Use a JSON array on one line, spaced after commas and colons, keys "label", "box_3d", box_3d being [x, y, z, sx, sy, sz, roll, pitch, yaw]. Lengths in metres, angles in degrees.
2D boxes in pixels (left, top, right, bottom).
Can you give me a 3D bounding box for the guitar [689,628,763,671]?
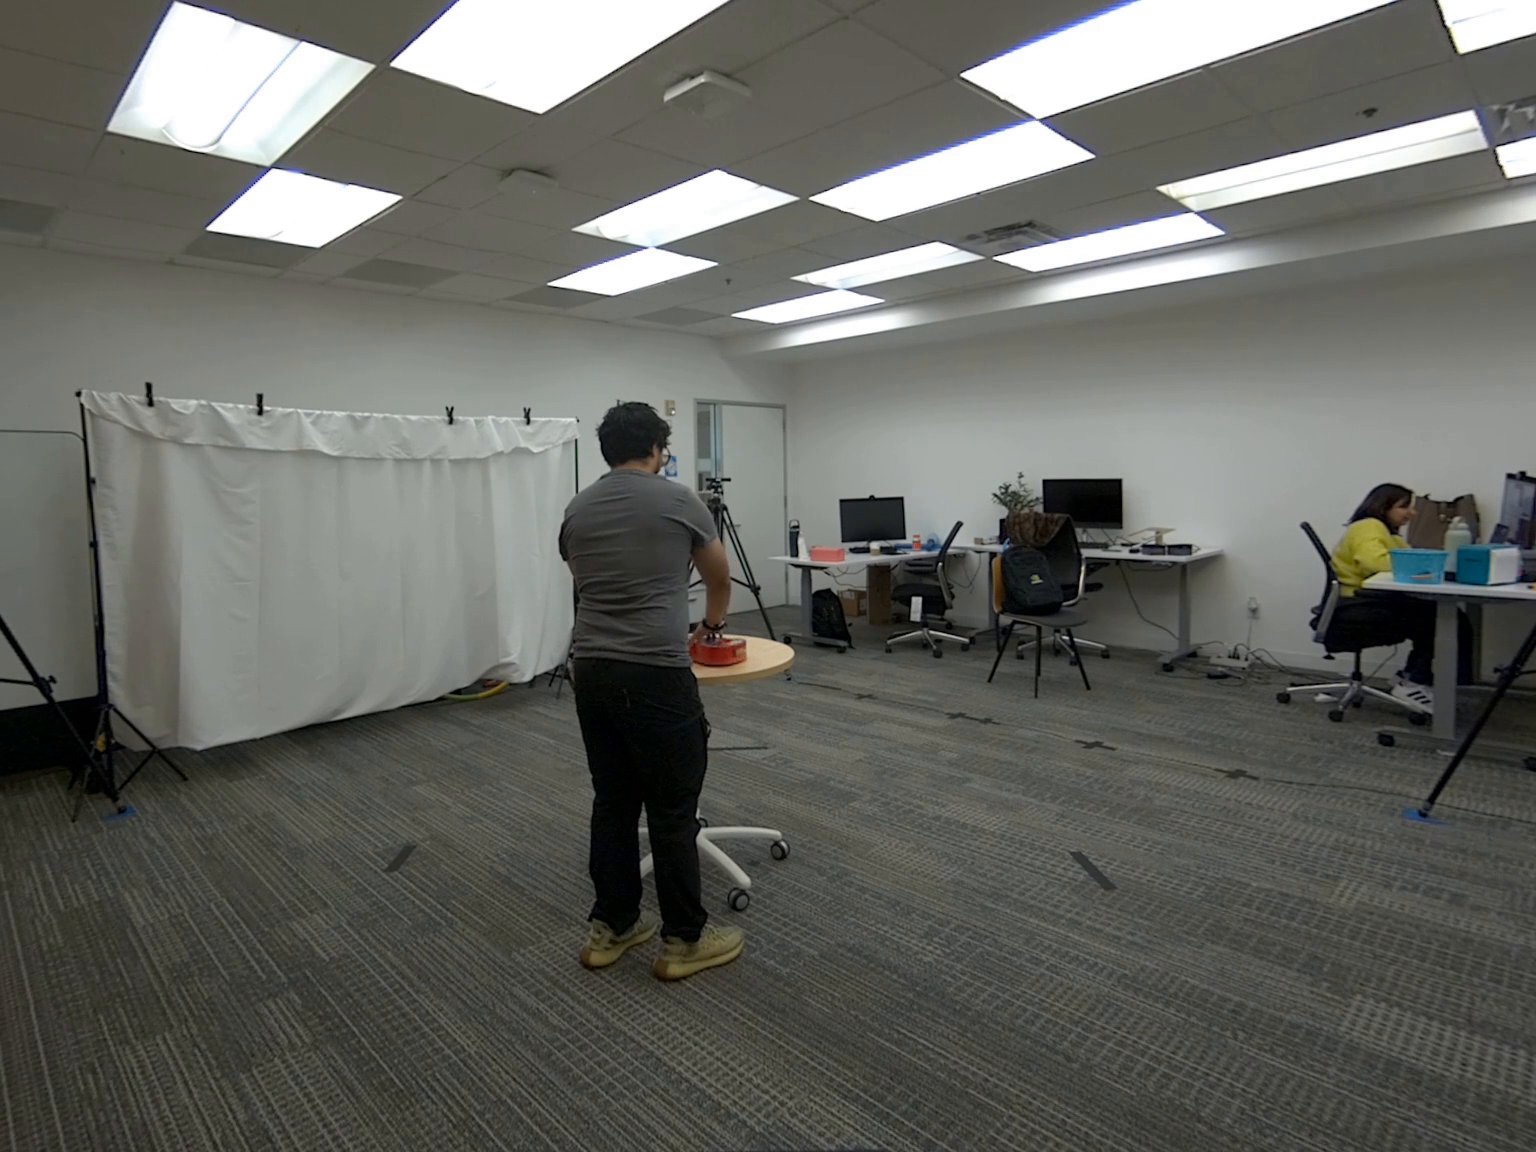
[{"label": "guitar", "box_3d": [-0.279, 0.237, 2.966, 0.513, 0.070, 0.188, 5, 8, 37]}]
